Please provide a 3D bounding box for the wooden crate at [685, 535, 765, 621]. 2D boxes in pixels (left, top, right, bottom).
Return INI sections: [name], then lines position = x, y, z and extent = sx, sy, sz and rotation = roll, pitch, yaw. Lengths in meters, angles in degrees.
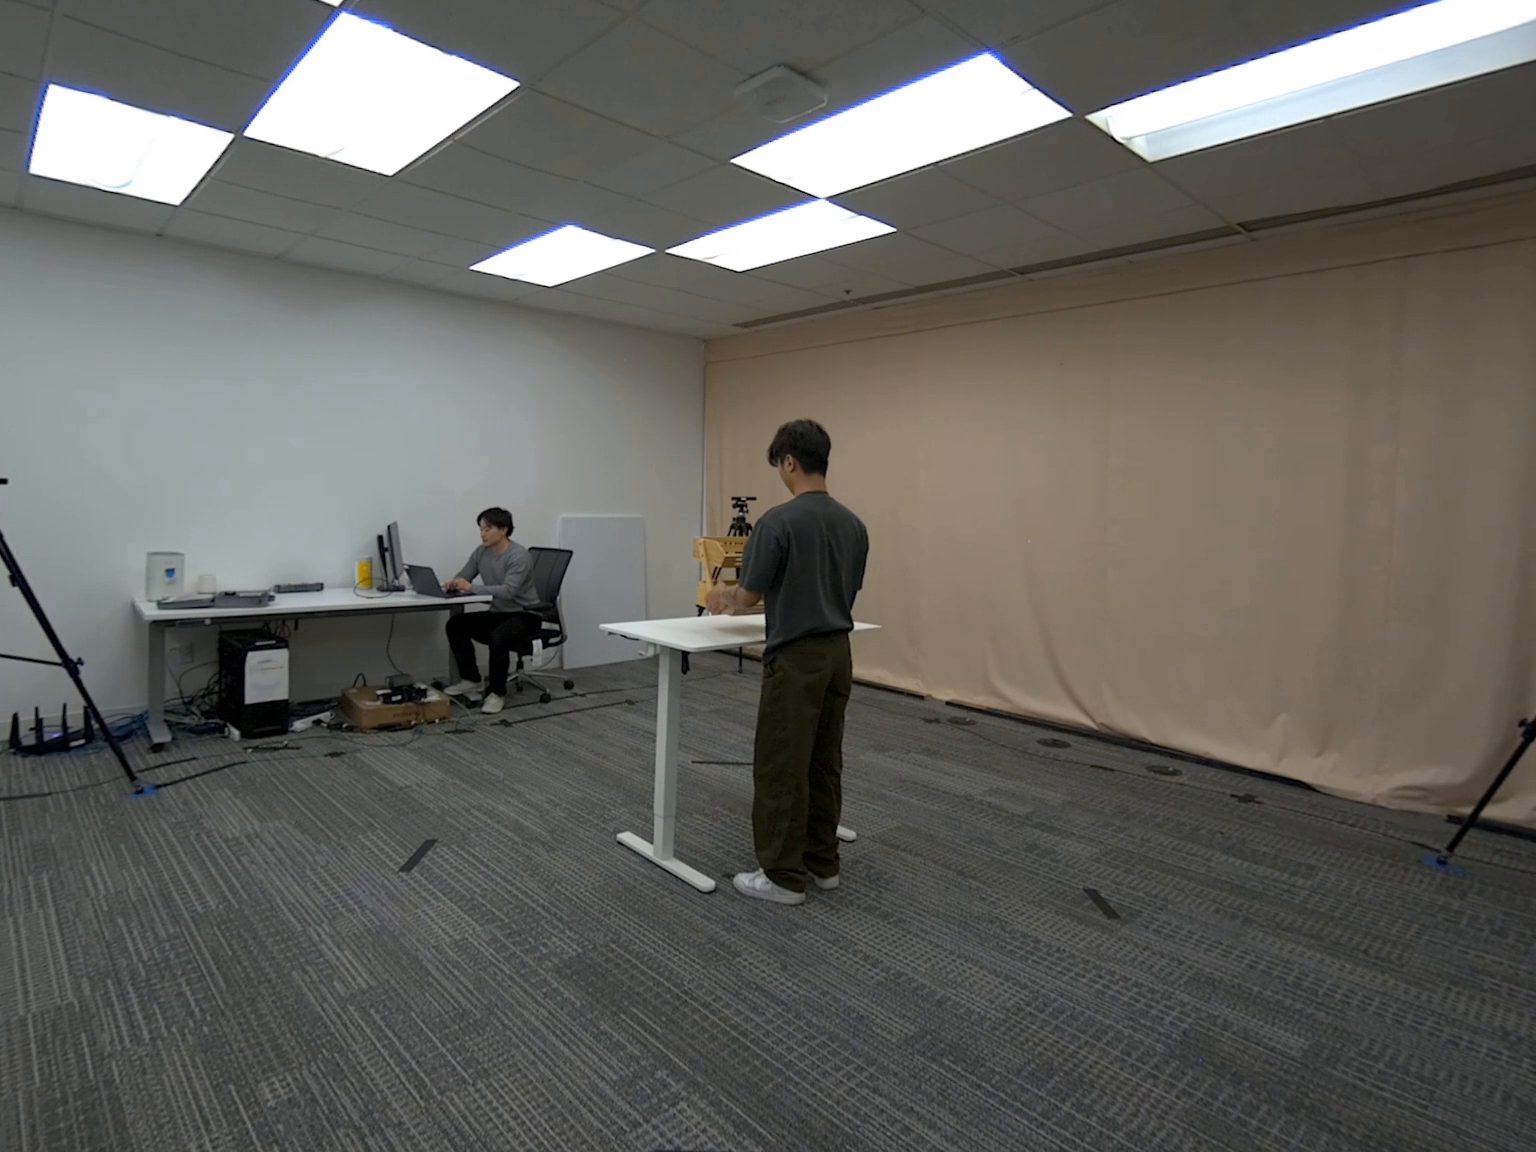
[wooden crate]
position = -0.093, -0.005, 3.286
extent = 0.317, 0.272, 0.310
rotation = -1, 9, -40
